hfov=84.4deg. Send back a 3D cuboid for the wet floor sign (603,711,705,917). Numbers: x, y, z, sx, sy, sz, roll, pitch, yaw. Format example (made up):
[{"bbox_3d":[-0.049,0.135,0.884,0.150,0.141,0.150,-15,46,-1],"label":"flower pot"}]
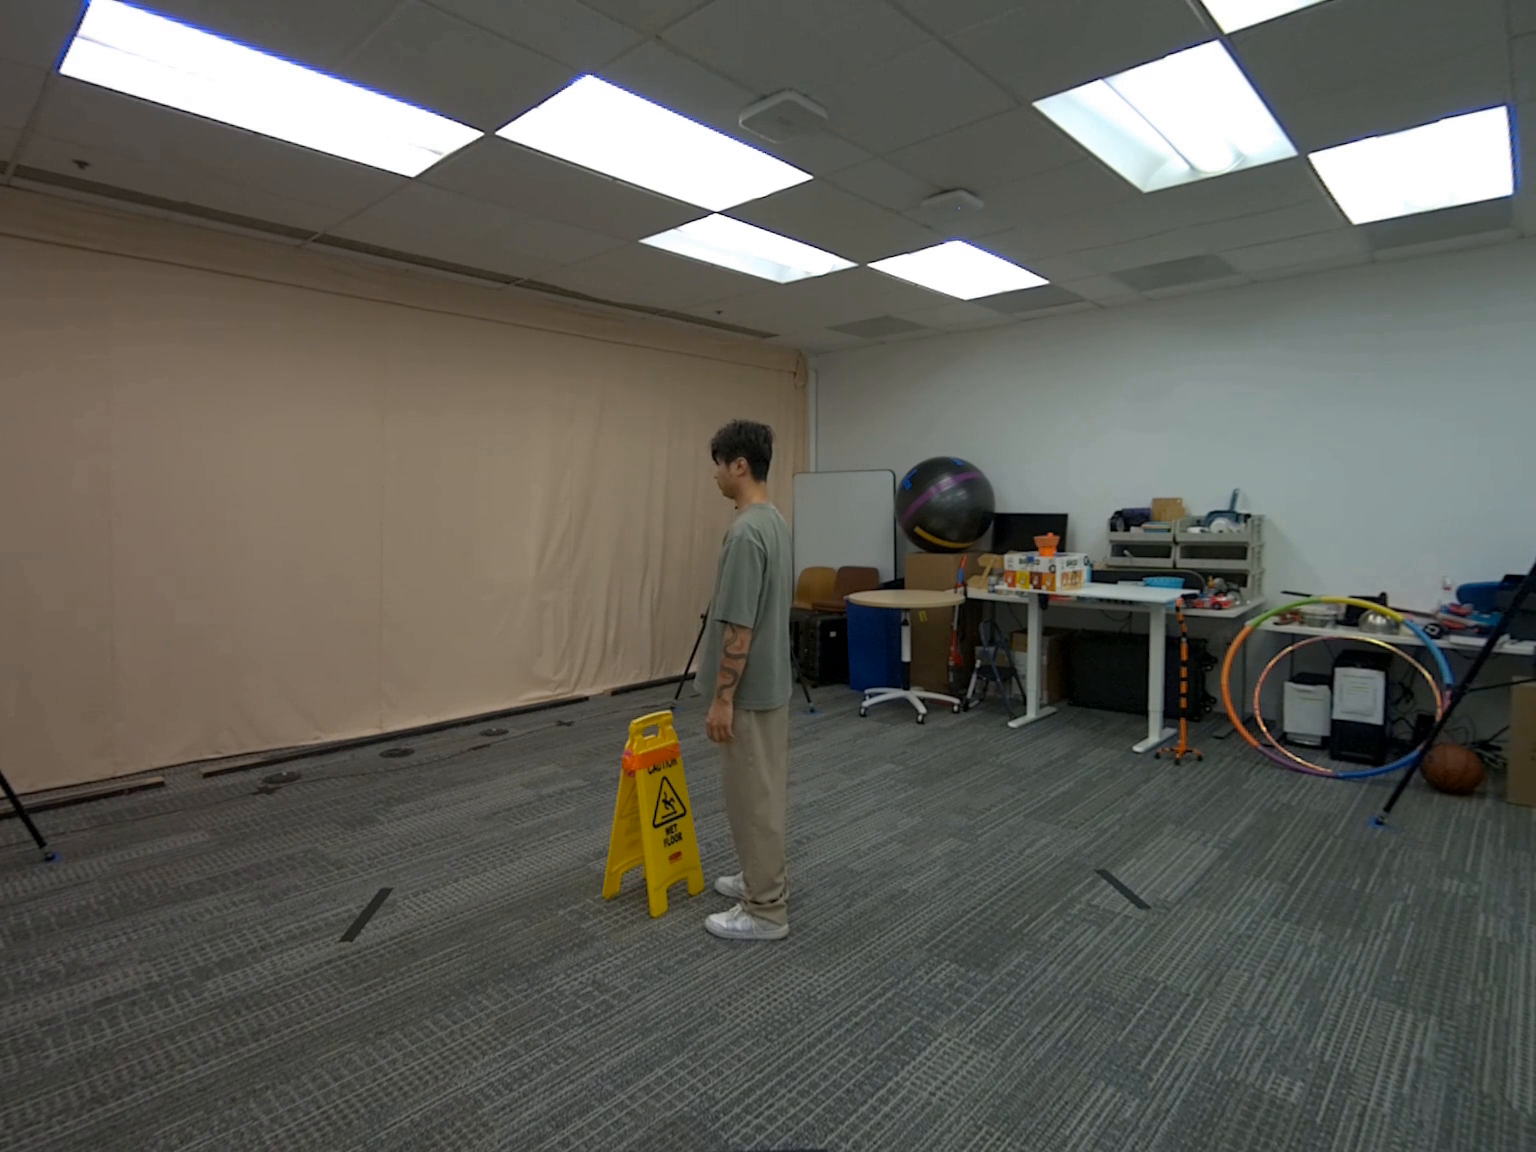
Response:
[{"bbox_3d":[-0.409,0.823,3.008,0.299,0.644,0.274,2,5,38],"label":"wet floor sign"}]
